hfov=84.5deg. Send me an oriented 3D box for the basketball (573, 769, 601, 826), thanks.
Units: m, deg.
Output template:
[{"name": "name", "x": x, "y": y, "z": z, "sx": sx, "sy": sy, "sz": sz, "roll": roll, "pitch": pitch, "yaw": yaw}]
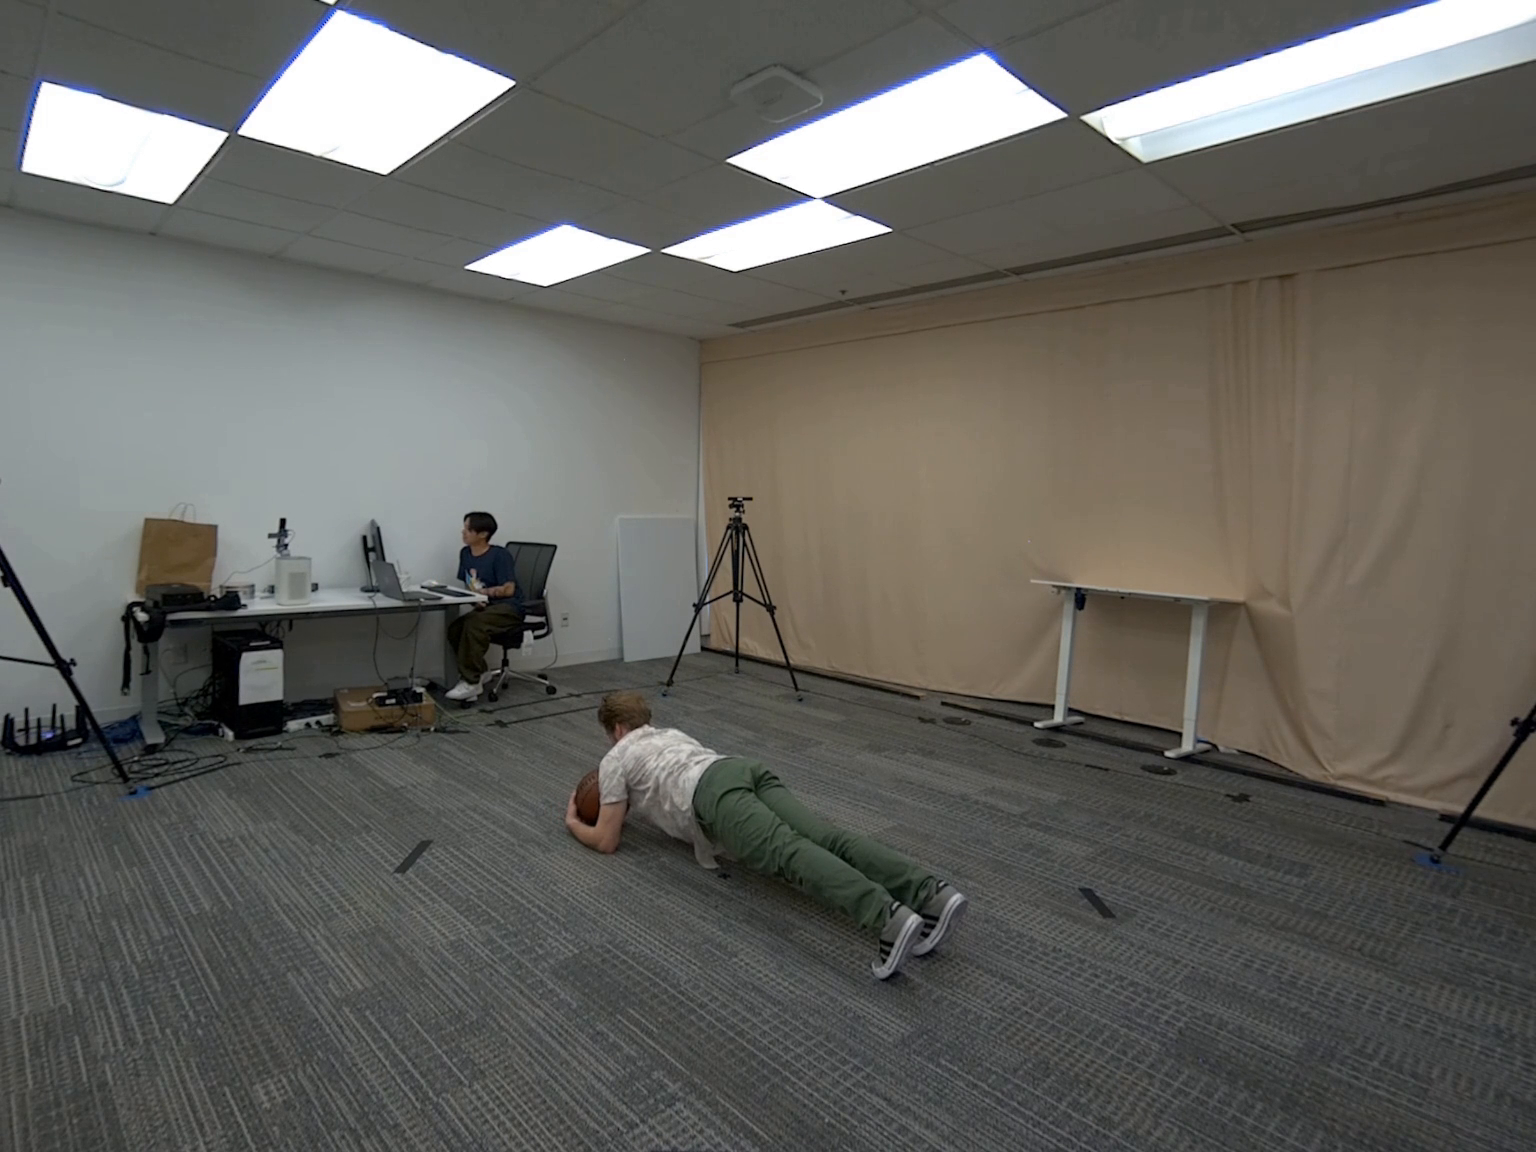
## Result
[{"name": "basketball", "x": -0.693, "y": 0.931, "z": 3.558, "sx": 0.236, "sy": 0.235, "sz": 0.237, "roll": 1, "pitch": 4, "yaw": -1}]
